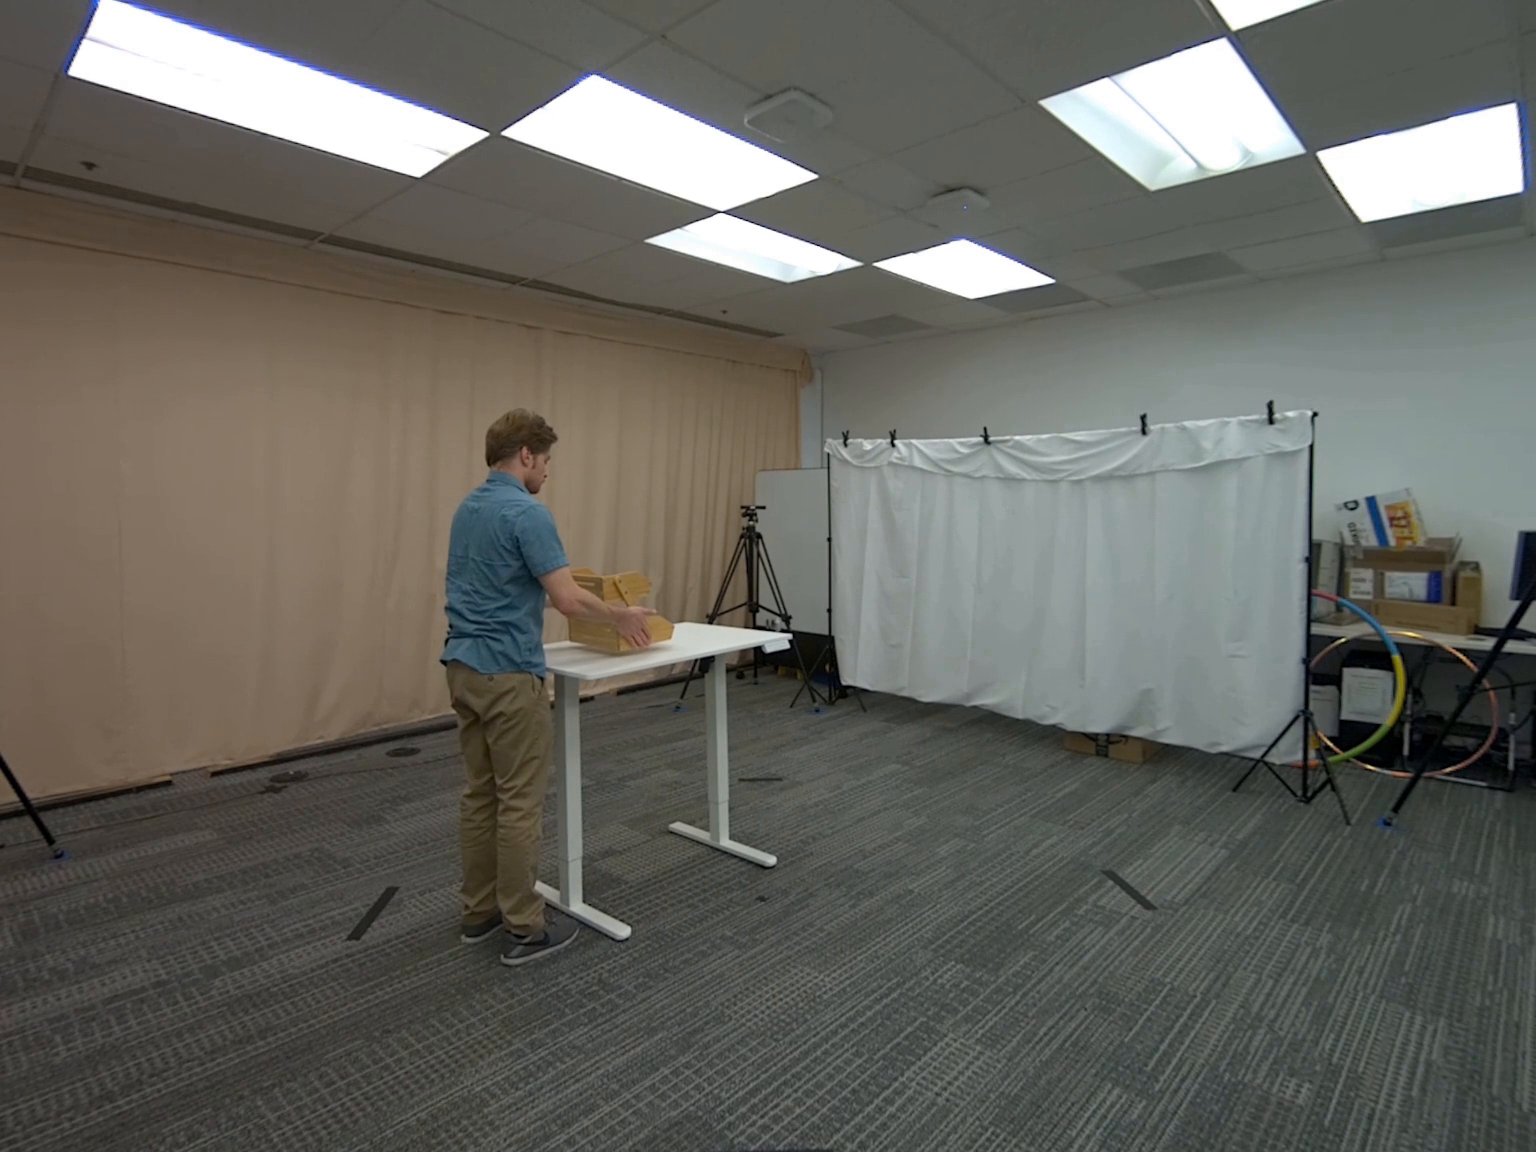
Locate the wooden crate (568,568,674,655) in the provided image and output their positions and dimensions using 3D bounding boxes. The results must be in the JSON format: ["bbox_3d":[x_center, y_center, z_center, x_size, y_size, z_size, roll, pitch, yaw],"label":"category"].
[{"bbox_3d":[-0.554,0.103,2.999,0.335,0.272,0.293,3,10,43],"label":"wooden crate"}]
